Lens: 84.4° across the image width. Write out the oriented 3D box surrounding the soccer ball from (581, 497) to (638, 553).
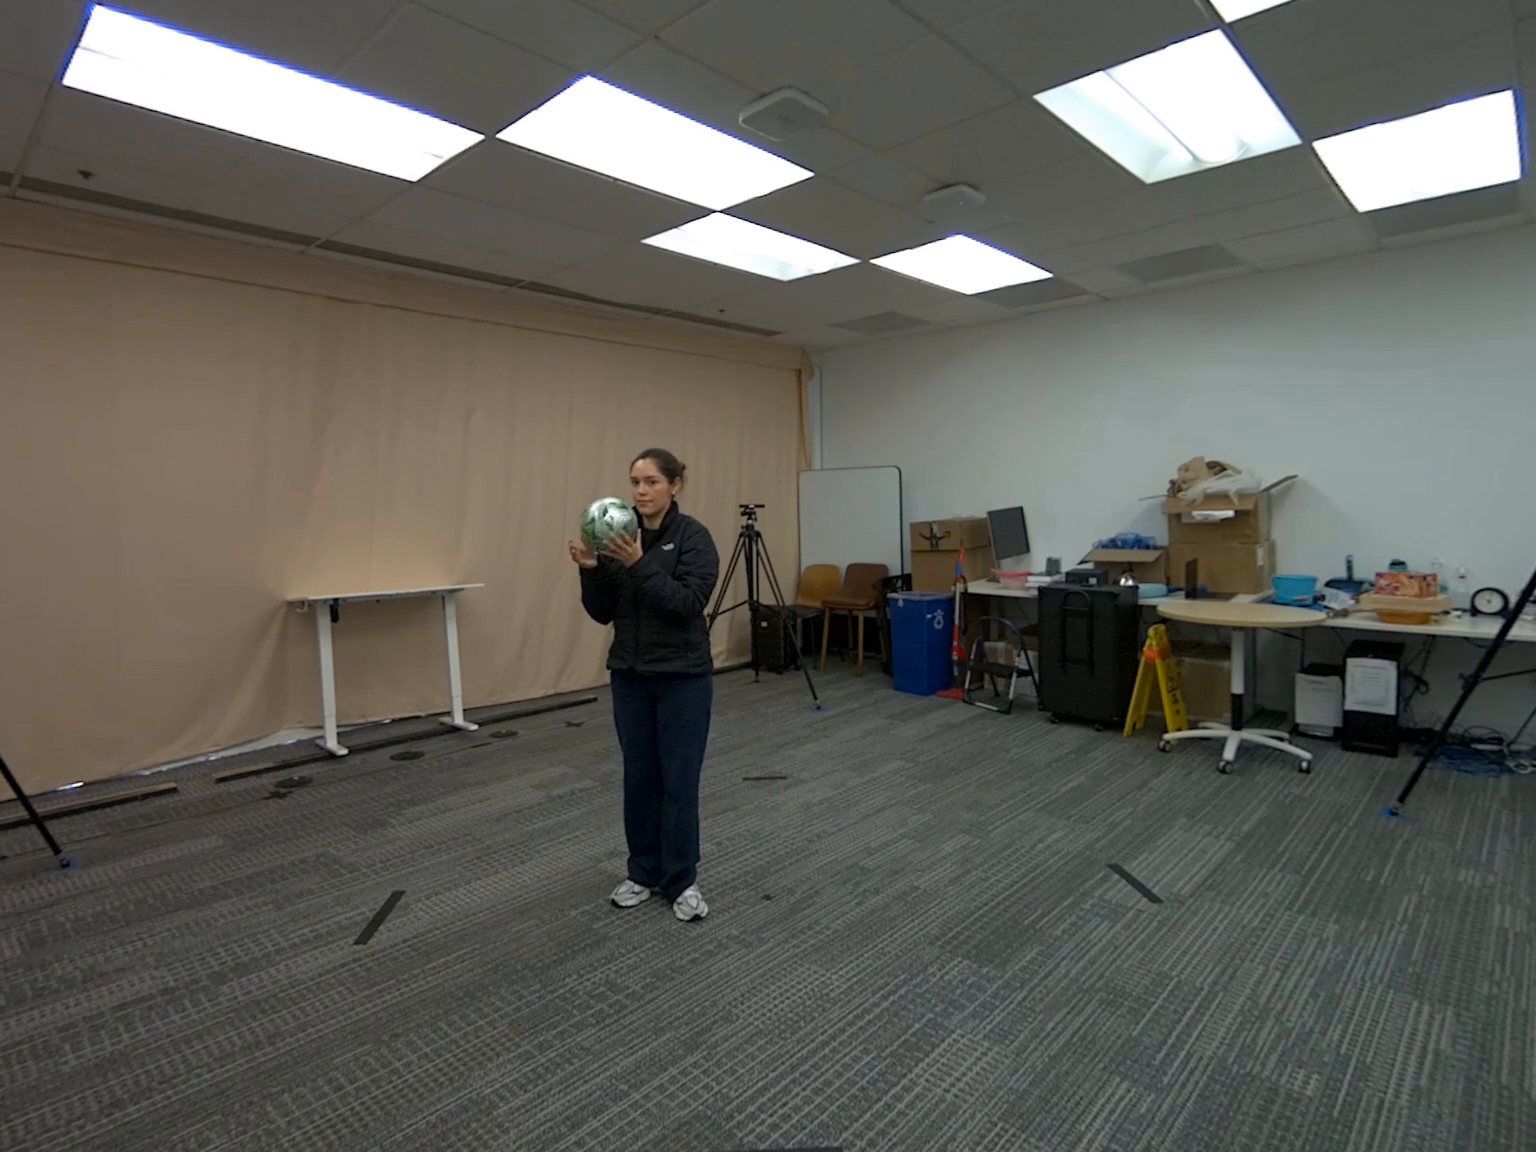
[{"bbox_3d":[-0.521,-0.151,2.720,0.187,0.187,0.188,-1,4,-2],"label":"soccer ball"}]
